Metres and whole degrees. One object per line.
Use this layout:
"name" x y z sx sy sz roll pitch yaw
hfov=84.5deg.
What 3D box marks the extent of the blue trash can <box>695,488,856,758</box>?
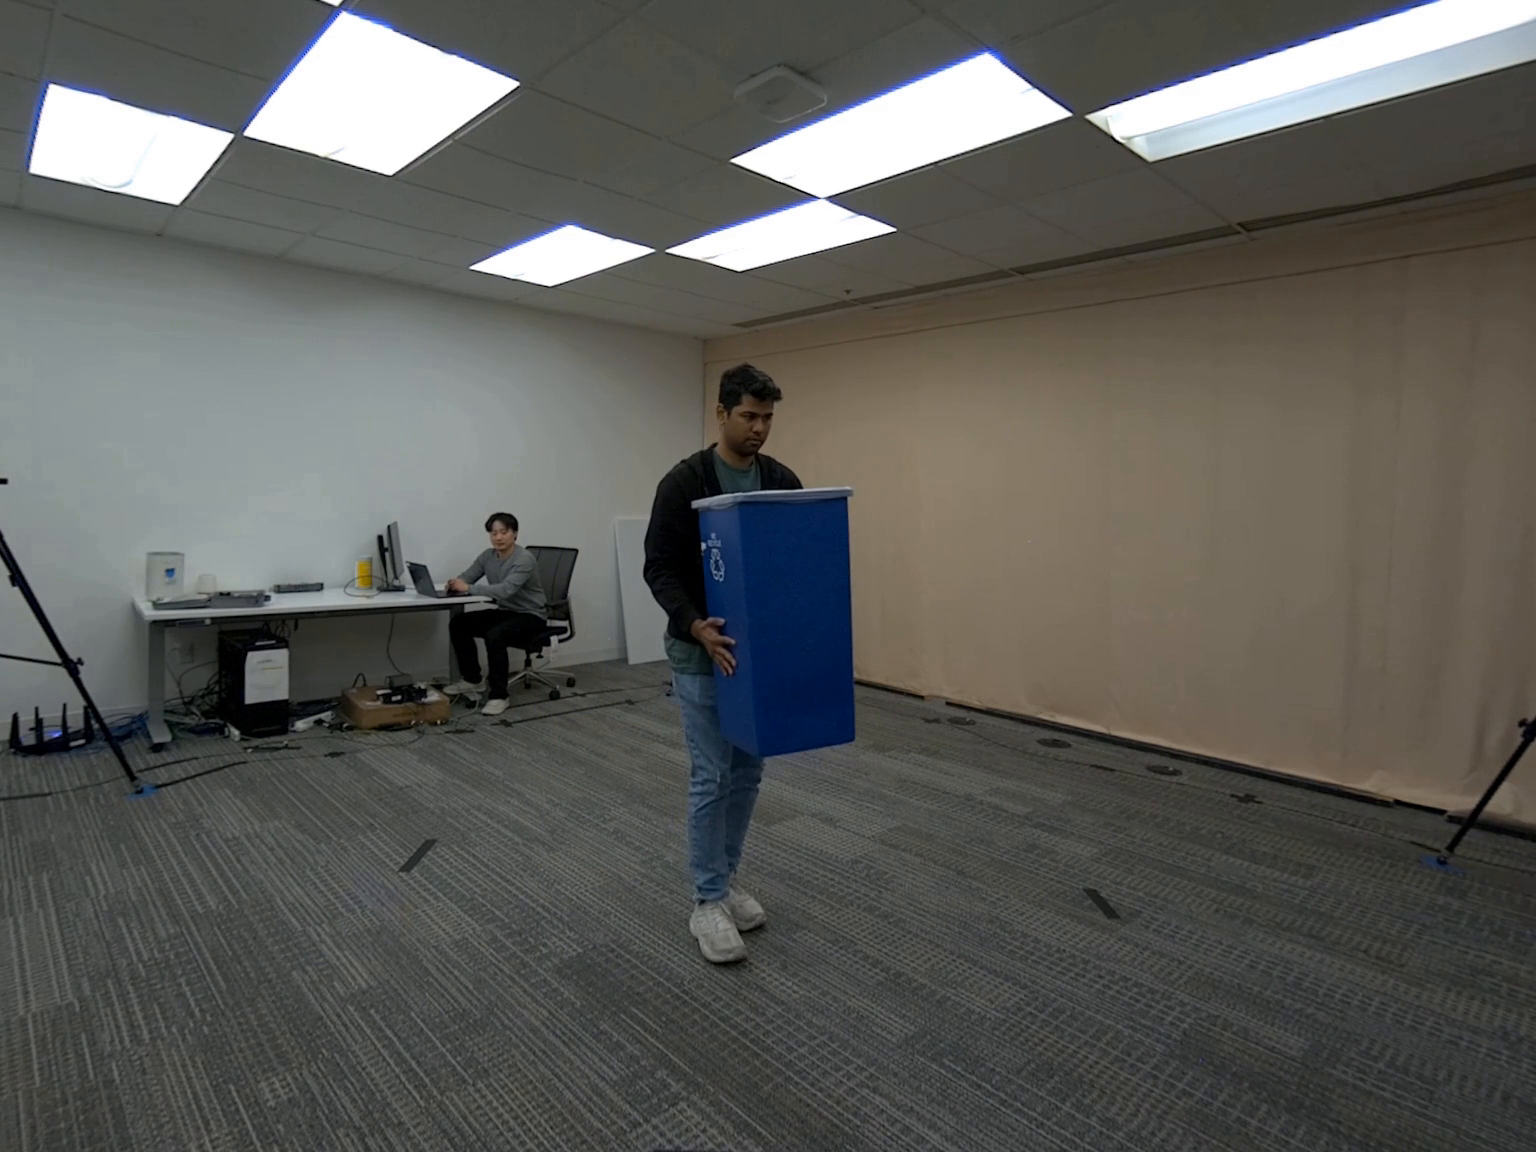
"blue trash can" 0.026 0.117 2.432 0.372 0.713 0.380 -4 1 -23
